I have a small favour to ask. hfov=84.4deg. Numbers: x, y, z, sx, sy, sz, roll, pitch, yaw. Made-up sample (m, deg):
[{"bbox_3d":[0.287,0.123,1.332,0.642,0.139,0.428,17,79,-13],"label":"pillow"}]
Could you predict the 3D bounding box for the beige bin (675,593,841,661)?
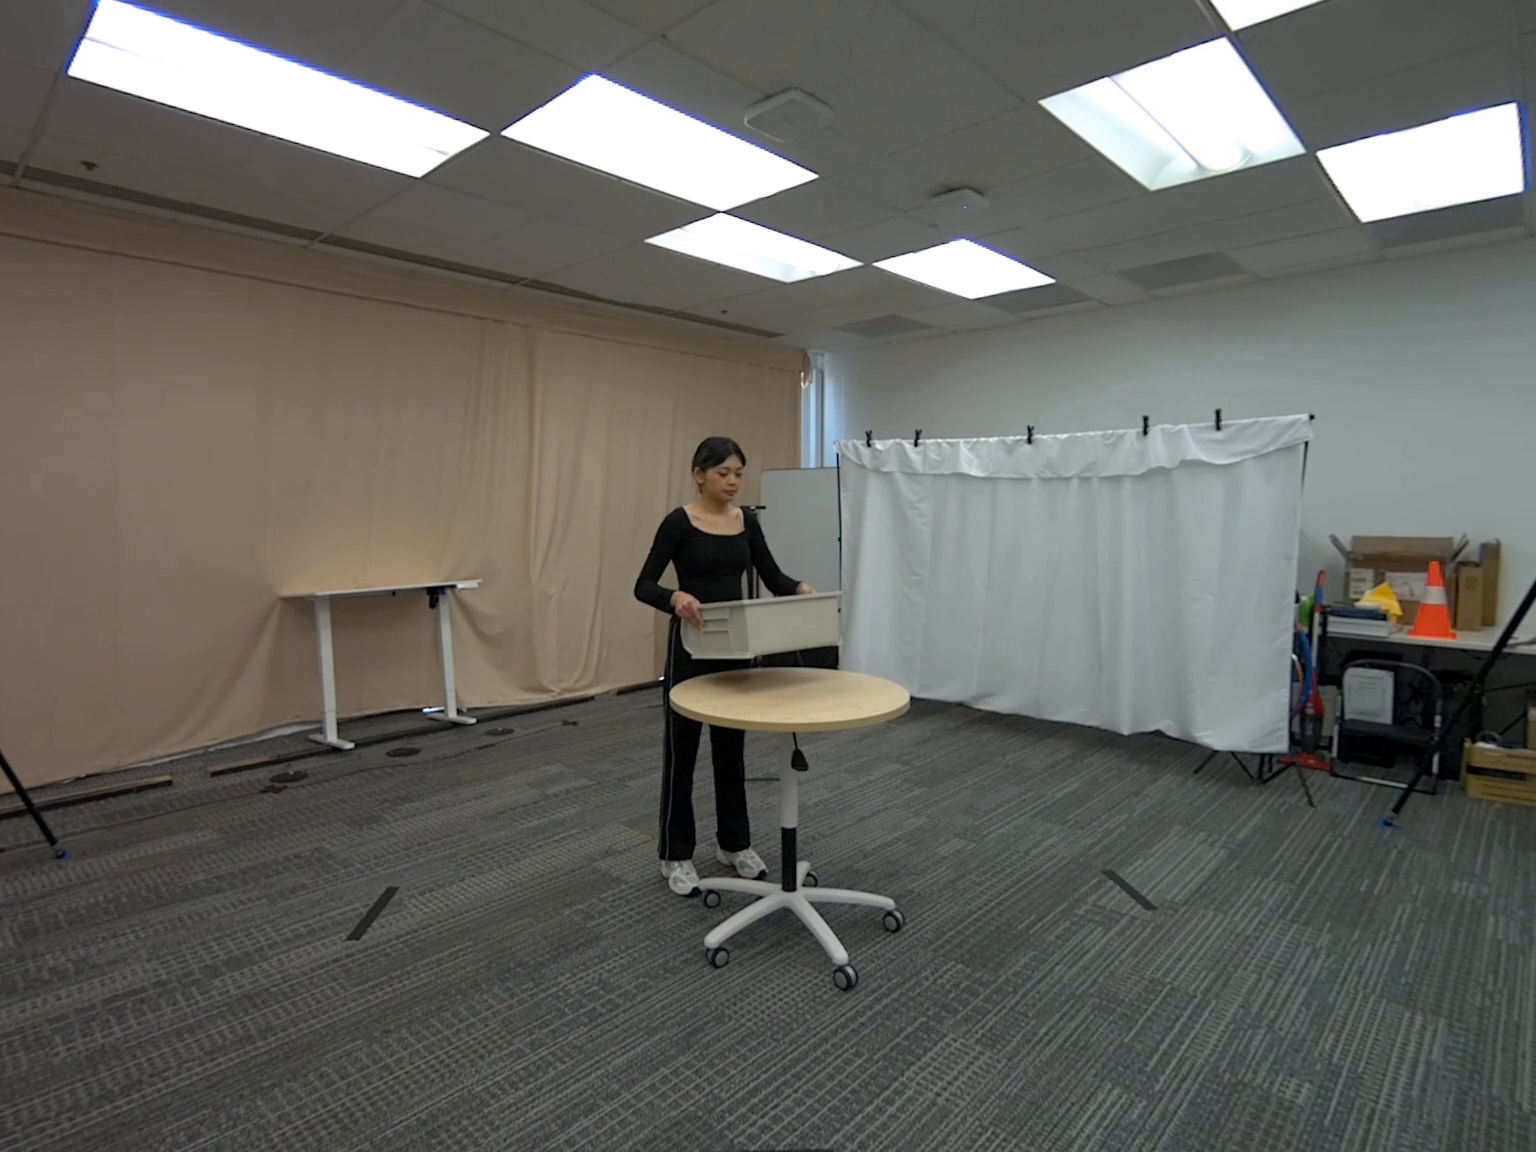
[{"bbox_3d":[-0.022,0.170,2.862,0.410,0.189,0.388,-2,-2,-36],"label":"beige bin"}]
